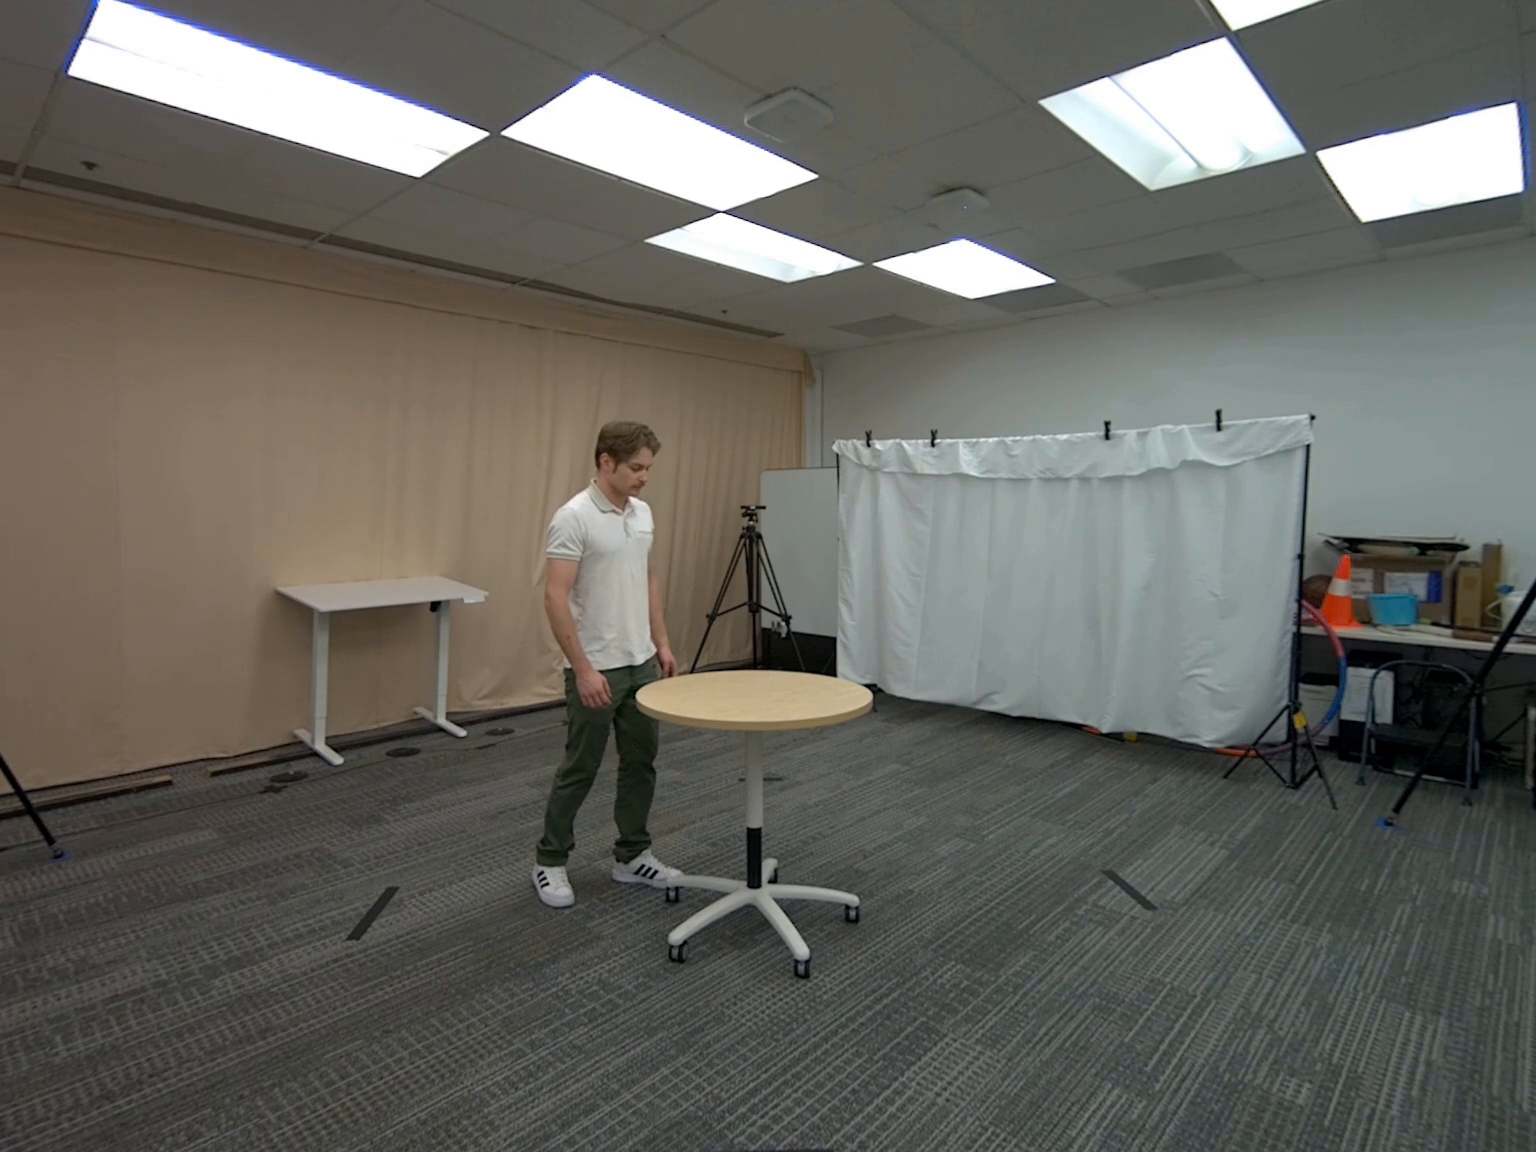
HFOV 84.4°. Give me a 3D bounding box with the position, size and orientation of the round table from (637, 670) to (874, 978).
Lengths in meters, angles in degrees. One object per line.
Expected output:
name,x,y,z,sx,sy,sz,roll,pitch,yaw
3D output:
round table,-0.036,0.770,2.746,0.784,0.785,0.787,-1,3,-2
